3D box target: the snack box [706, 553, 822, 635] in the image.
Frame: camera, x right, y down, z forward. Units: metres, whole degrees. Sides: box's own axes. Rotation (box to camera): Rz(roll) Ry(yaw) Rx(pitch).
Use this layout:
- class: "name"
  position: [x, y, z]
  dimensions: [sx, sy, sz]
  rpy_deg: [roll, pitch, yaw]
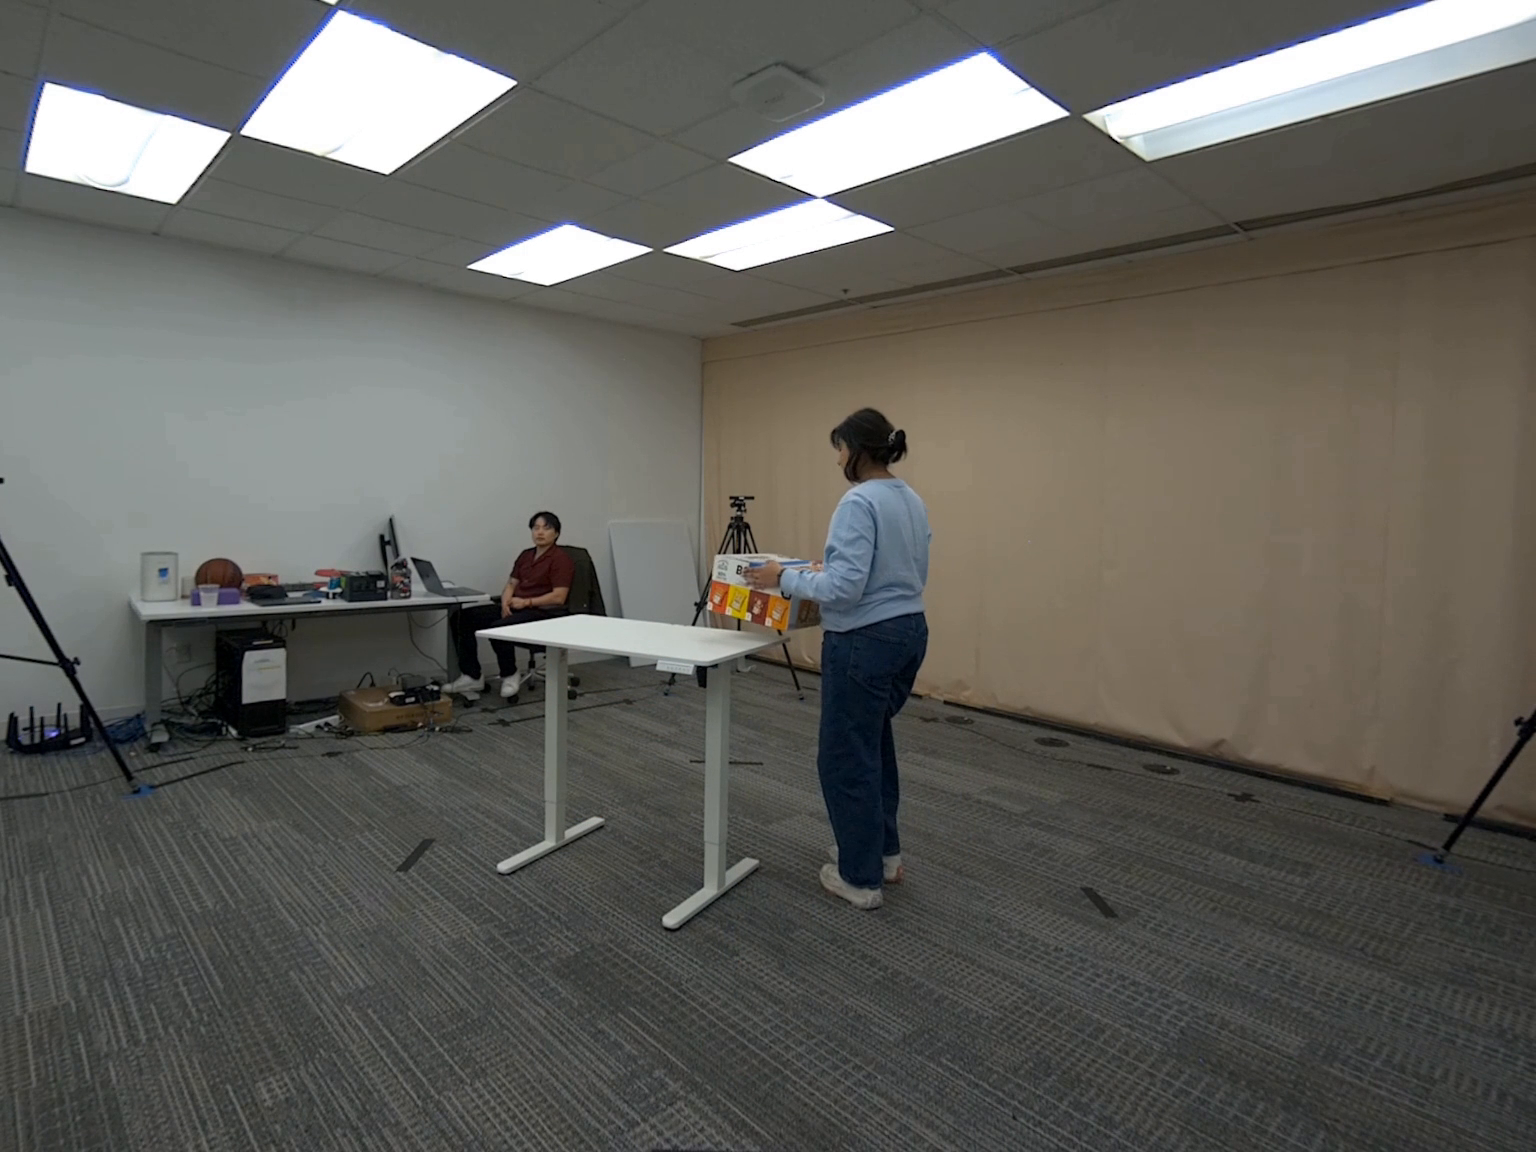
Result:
- class: "snack box"
  position: [0.043, 0.052, 3.101]
  dimensions: [0.349, 0.205, 0.396]
  rpy_deg: [14, 9, 31]
